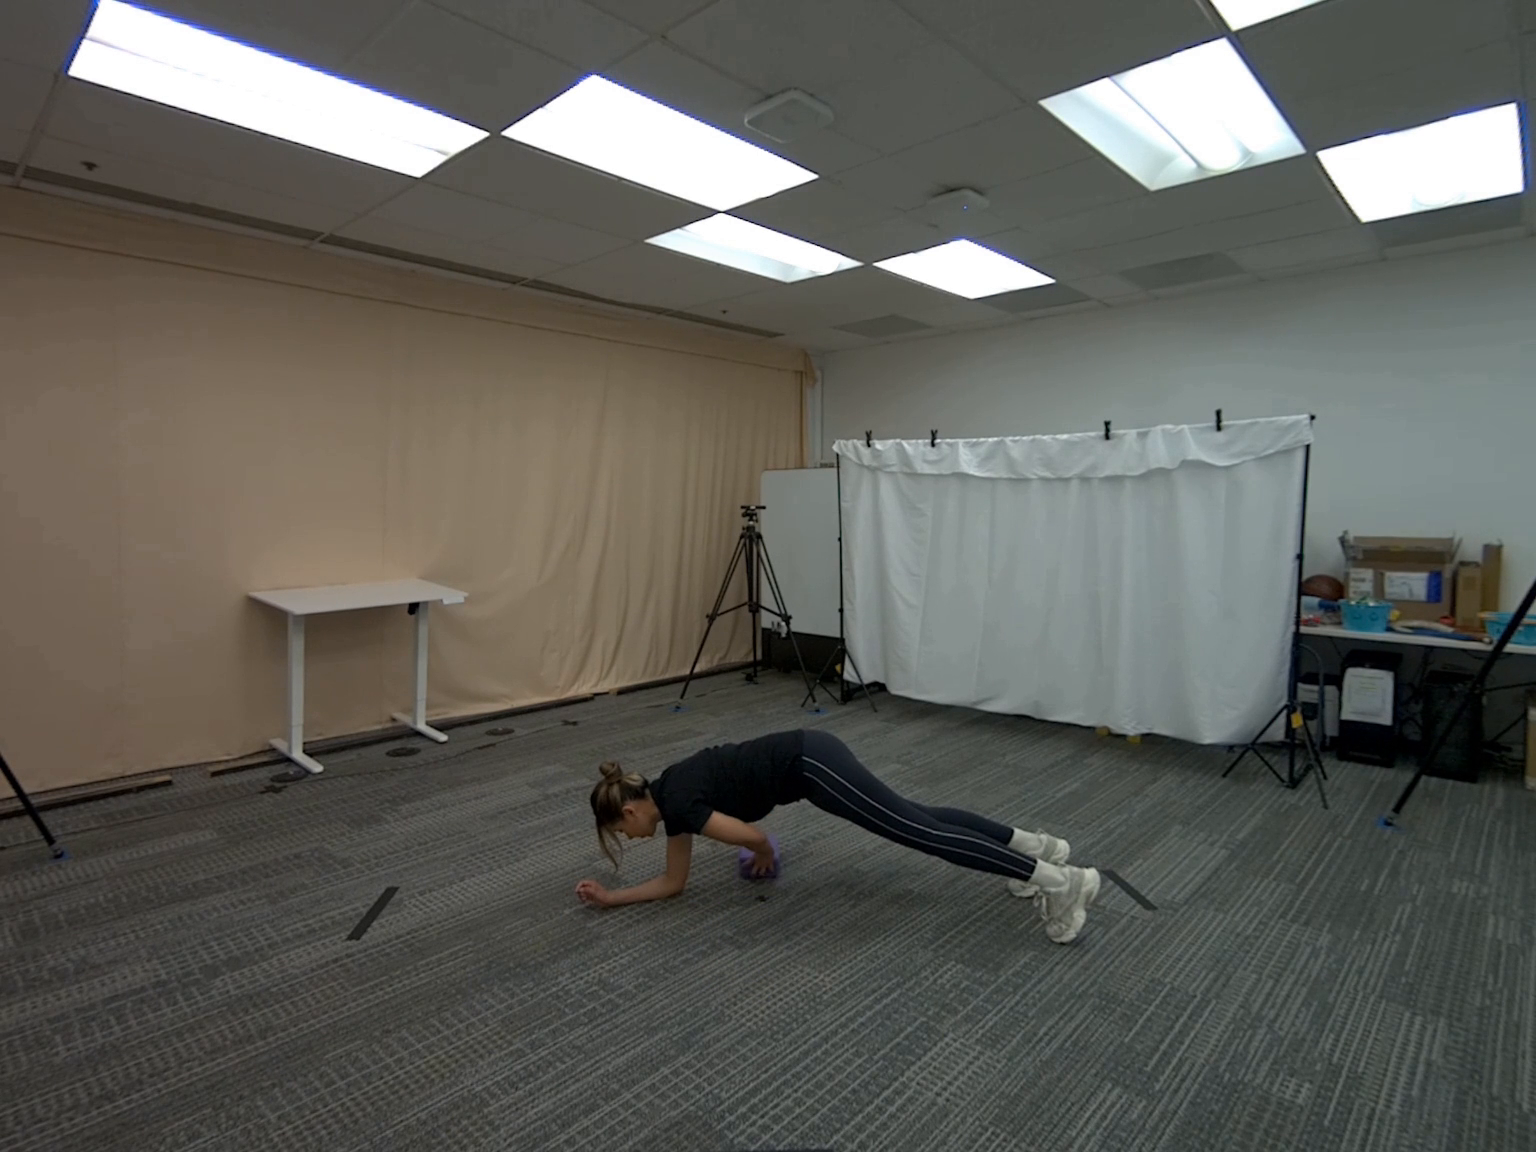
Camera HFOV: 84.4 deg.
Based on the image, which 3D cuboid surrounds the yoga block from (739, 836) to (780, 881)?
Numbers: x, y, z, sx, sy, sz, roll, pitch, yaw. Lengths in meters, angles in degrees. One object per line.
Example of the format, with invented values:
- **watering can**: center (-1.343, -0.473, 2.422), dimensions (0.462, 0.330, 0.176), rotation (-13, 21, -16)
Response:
- **yoga block**: center (-0.034, 1.080, 3.245), dimensions (0.149, 0.076, 0.229), rotation (-2, 5, 0)
